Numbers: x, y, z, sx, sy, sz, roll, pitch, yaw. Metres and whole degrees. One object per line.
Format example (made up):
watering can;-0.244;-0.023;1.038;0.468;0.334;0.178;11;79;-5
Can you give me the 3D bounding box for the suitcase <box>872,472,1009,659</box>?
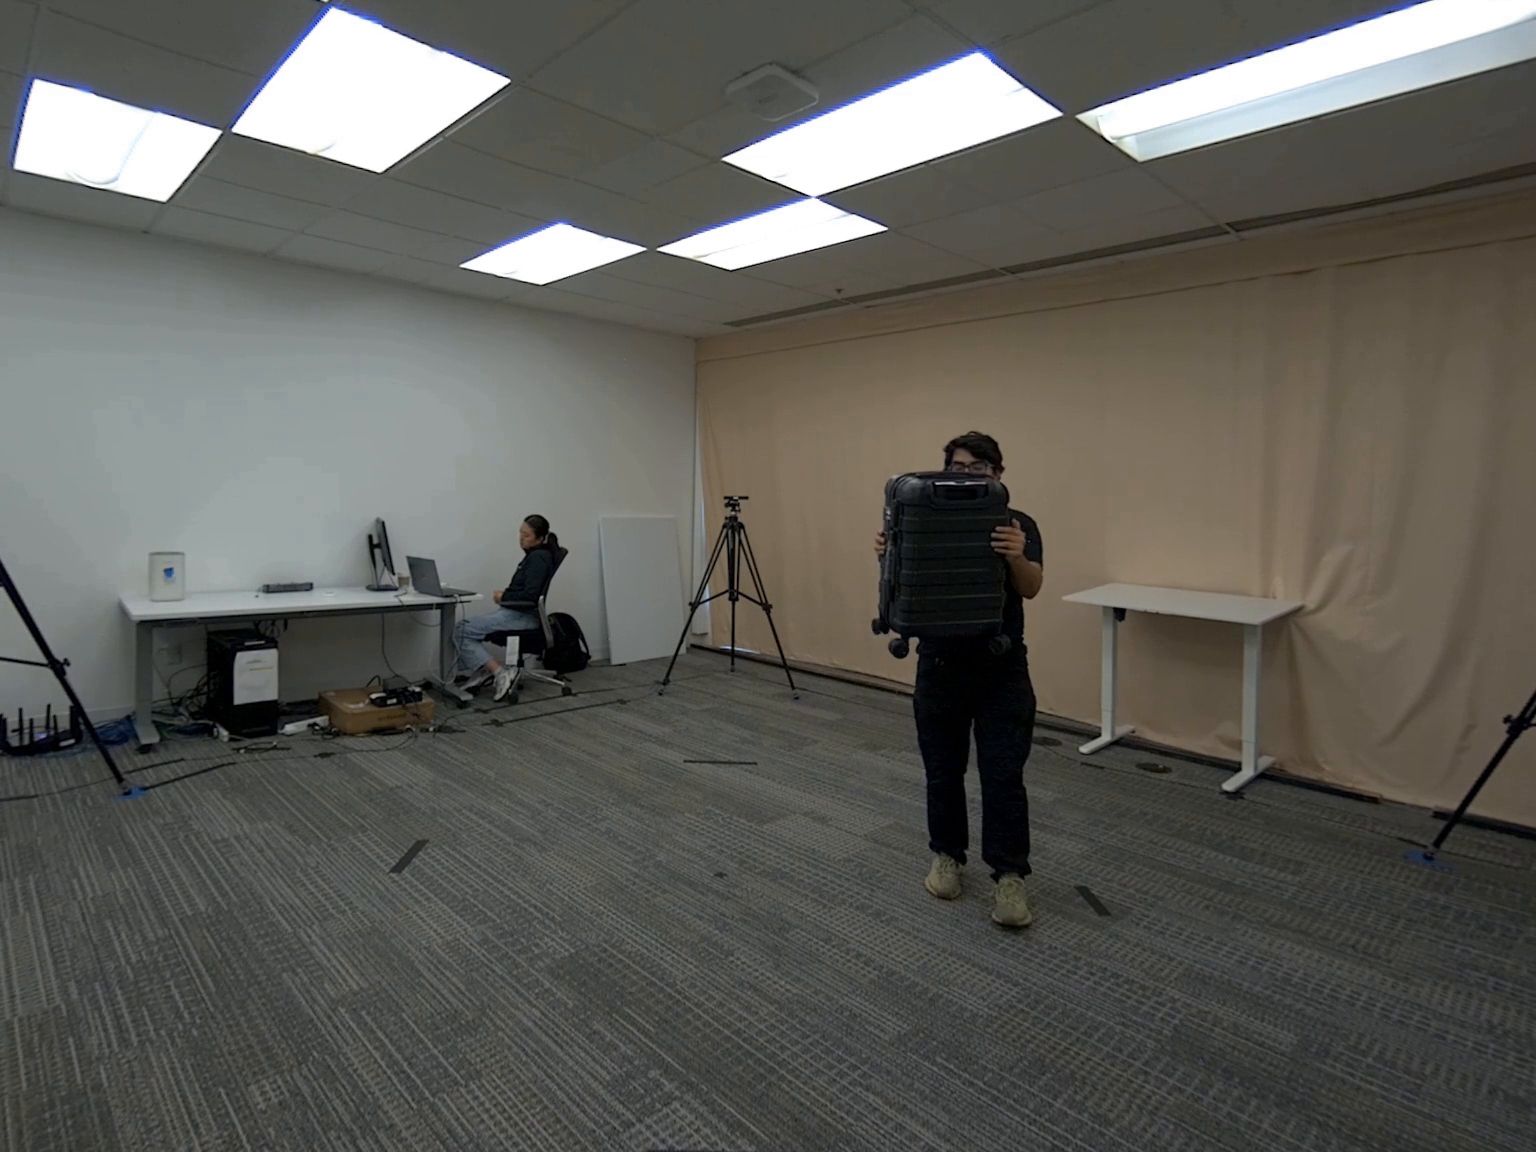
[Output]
suitcase;0.544;-0.053;2.623;0.373;0.545;0.252;-2;11;-8
